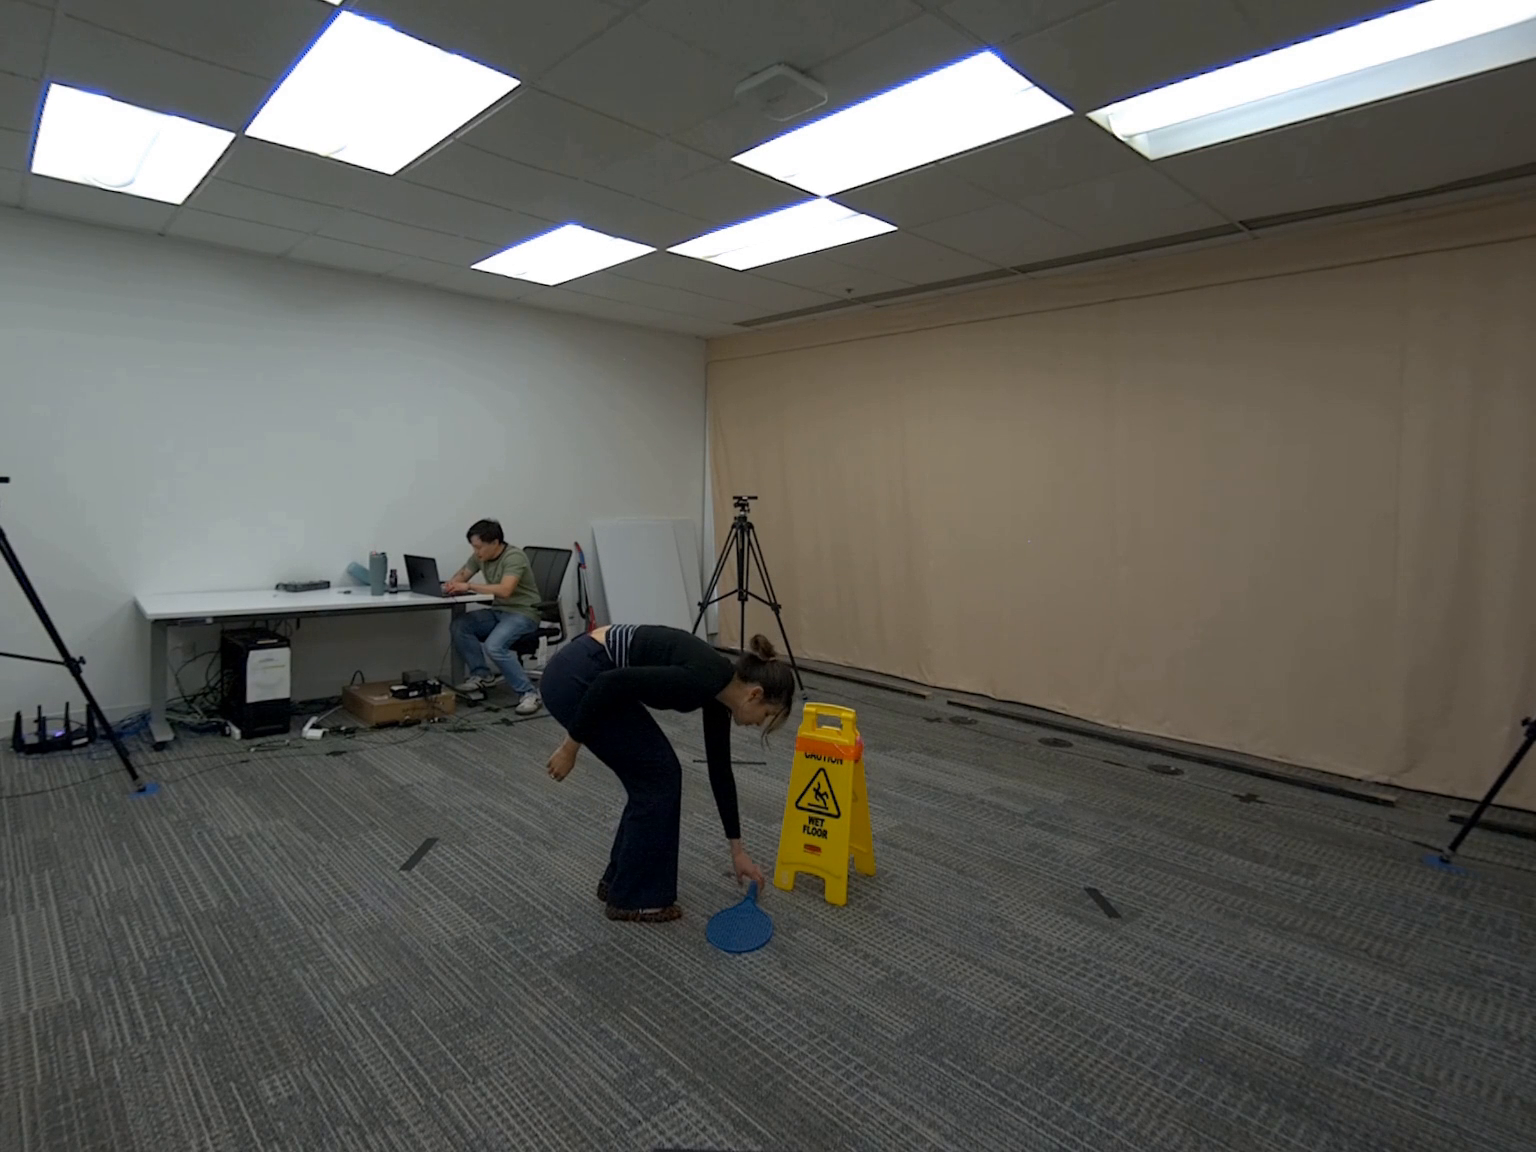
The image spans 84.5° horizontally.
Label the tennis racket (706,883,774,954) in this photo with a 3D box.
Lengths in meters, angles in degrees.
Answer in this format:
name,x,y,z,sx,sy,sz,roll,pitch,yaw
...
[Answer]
name,x,y,z,sx,sy,sz,roll,pitch,yaw
tennis racket,-0.088,1.118,2.777,0.215,0.031,0.432,1,6,7
